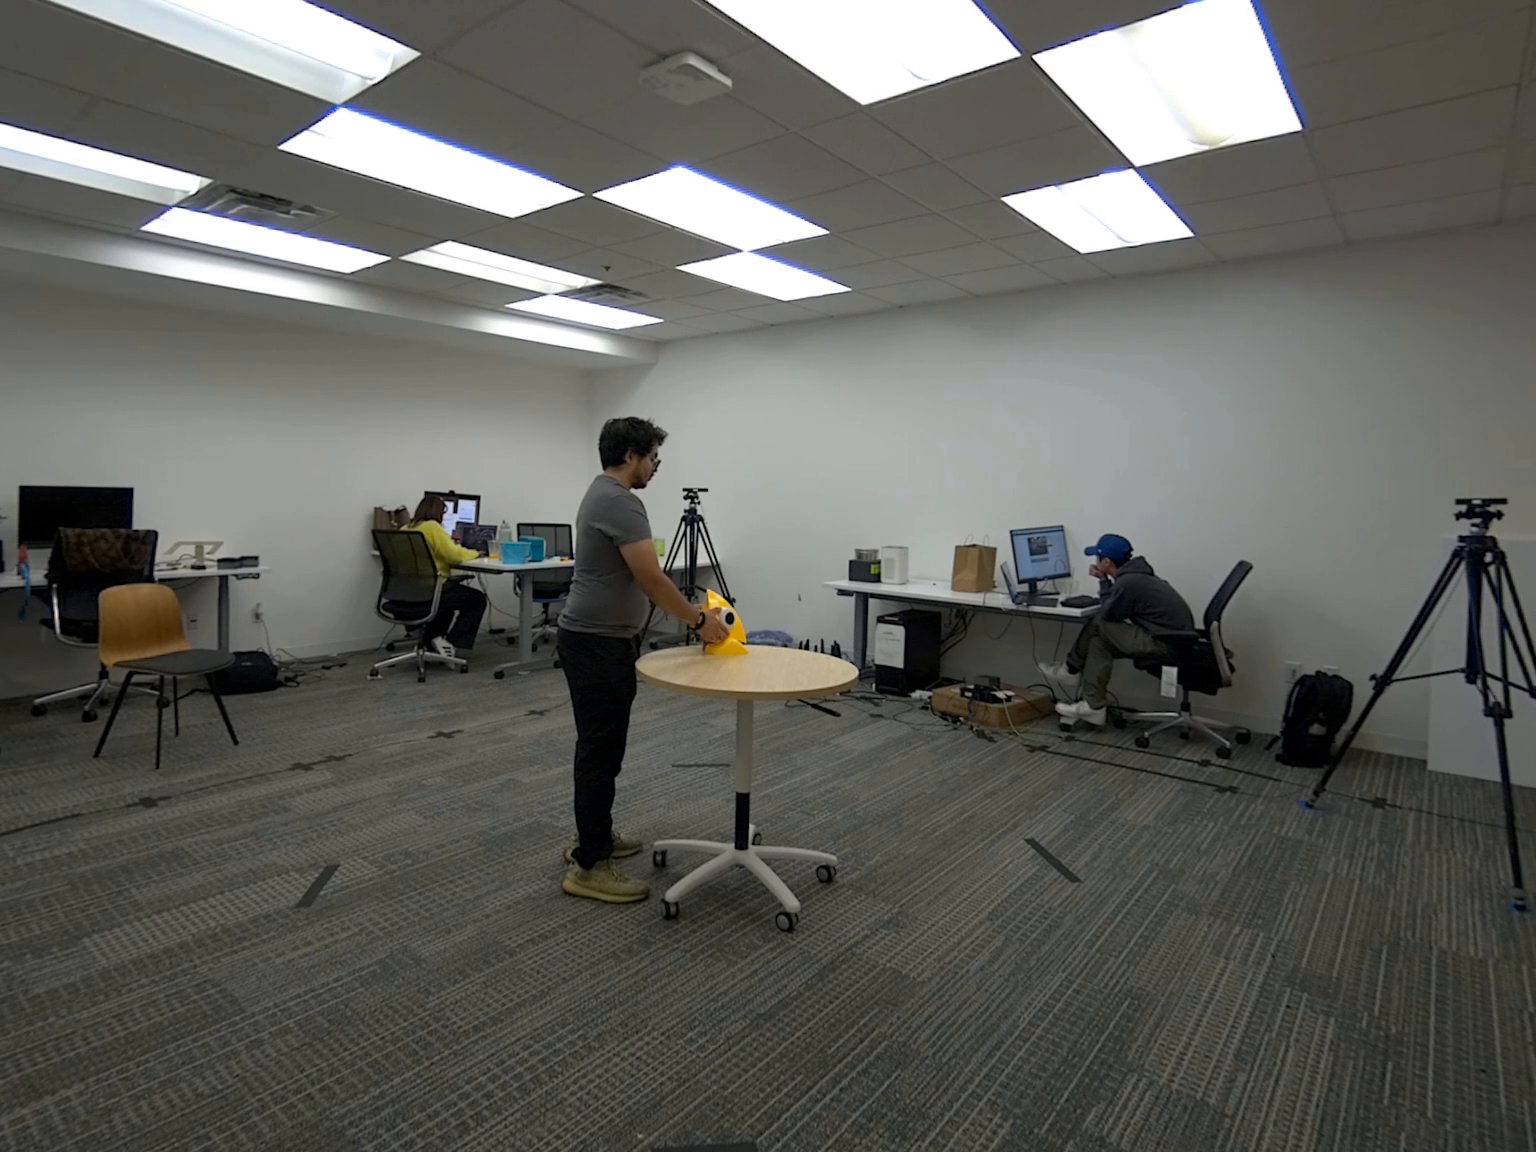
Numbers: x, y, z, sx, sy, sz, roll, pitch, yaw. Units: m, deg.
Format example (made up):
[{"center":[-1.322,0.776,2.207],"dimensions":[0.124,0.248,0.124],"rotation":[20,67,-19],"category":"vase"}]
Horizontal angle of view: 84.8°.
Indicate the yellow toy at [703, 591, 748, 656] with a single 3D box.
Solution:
[{"center":[-0.183,0.164,3.195],"dimensions":[0.190,0.230,0.209],"rotation":[2,6,-15],"category":"yellow toy"}]
